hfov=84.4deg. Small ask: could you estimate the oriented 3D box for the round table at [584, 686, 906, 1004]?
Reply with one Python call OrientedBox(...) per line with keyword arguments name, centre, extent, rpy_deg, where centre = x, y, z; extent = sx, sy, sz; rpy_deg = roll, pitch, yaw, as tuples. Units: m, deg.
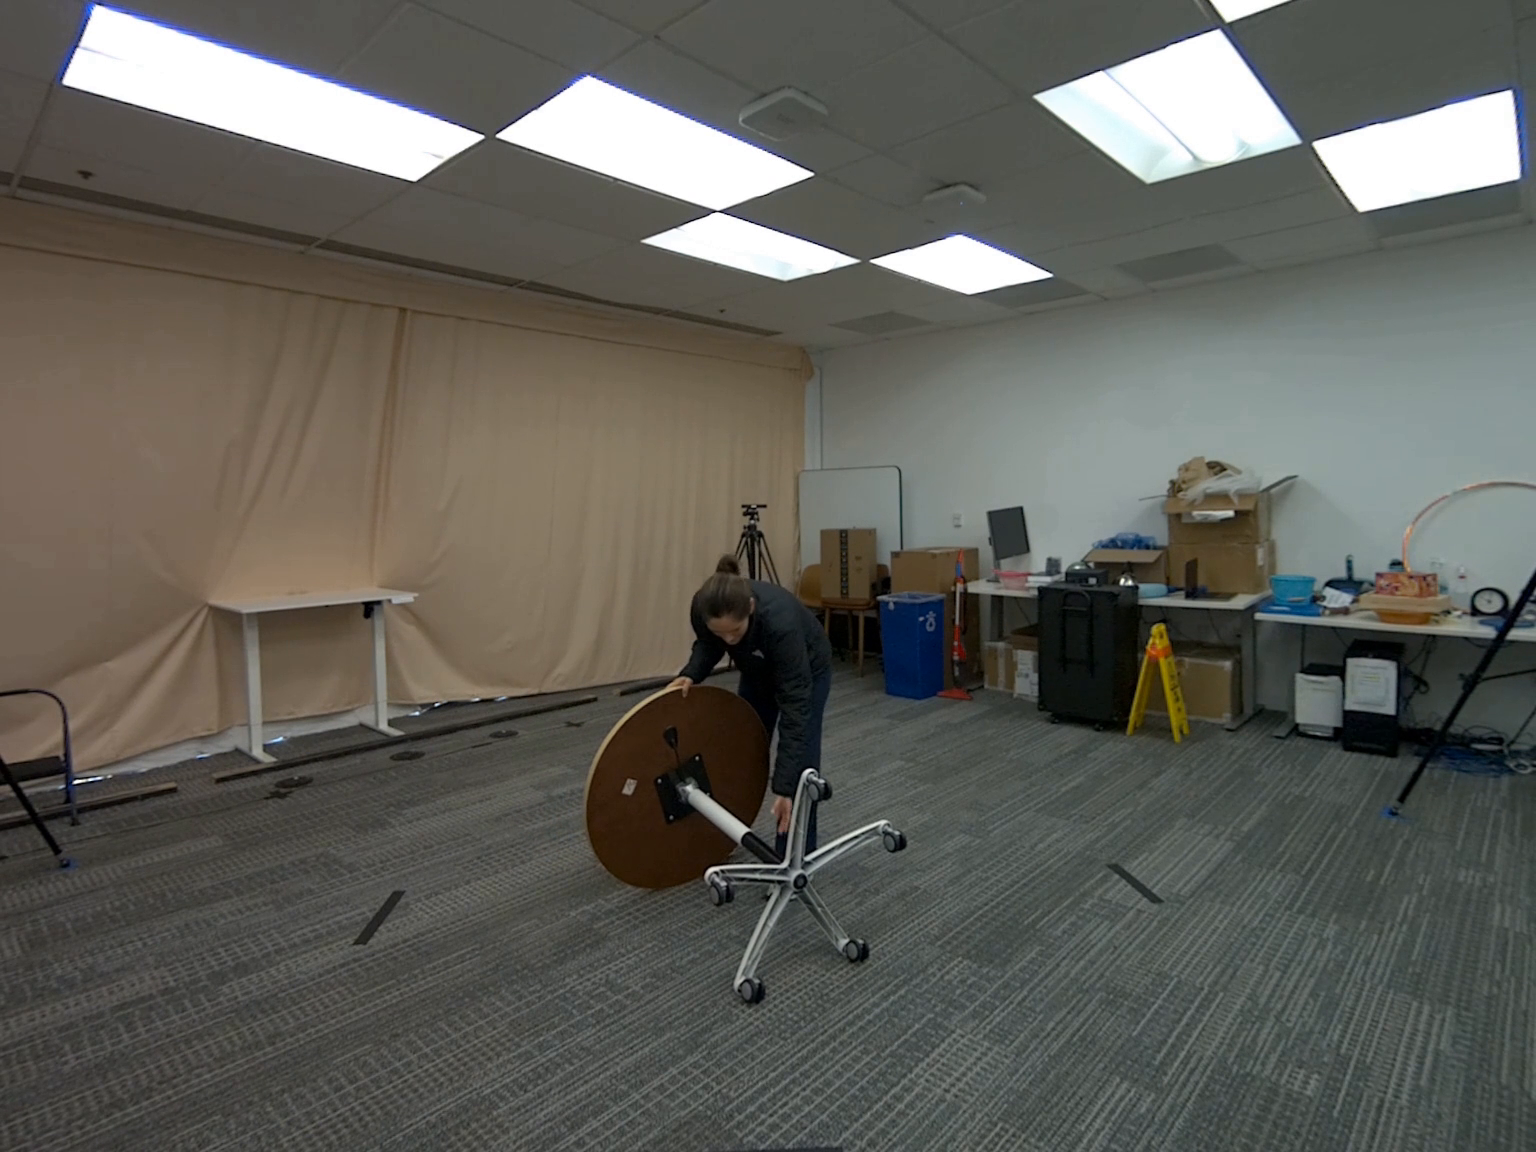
OrientedBox(name="round table", centre=(-0.071, 0.828, 2.729), extent=(0.762, 0.781, 0.814), rpy_deg=(-4, 12, -37))
